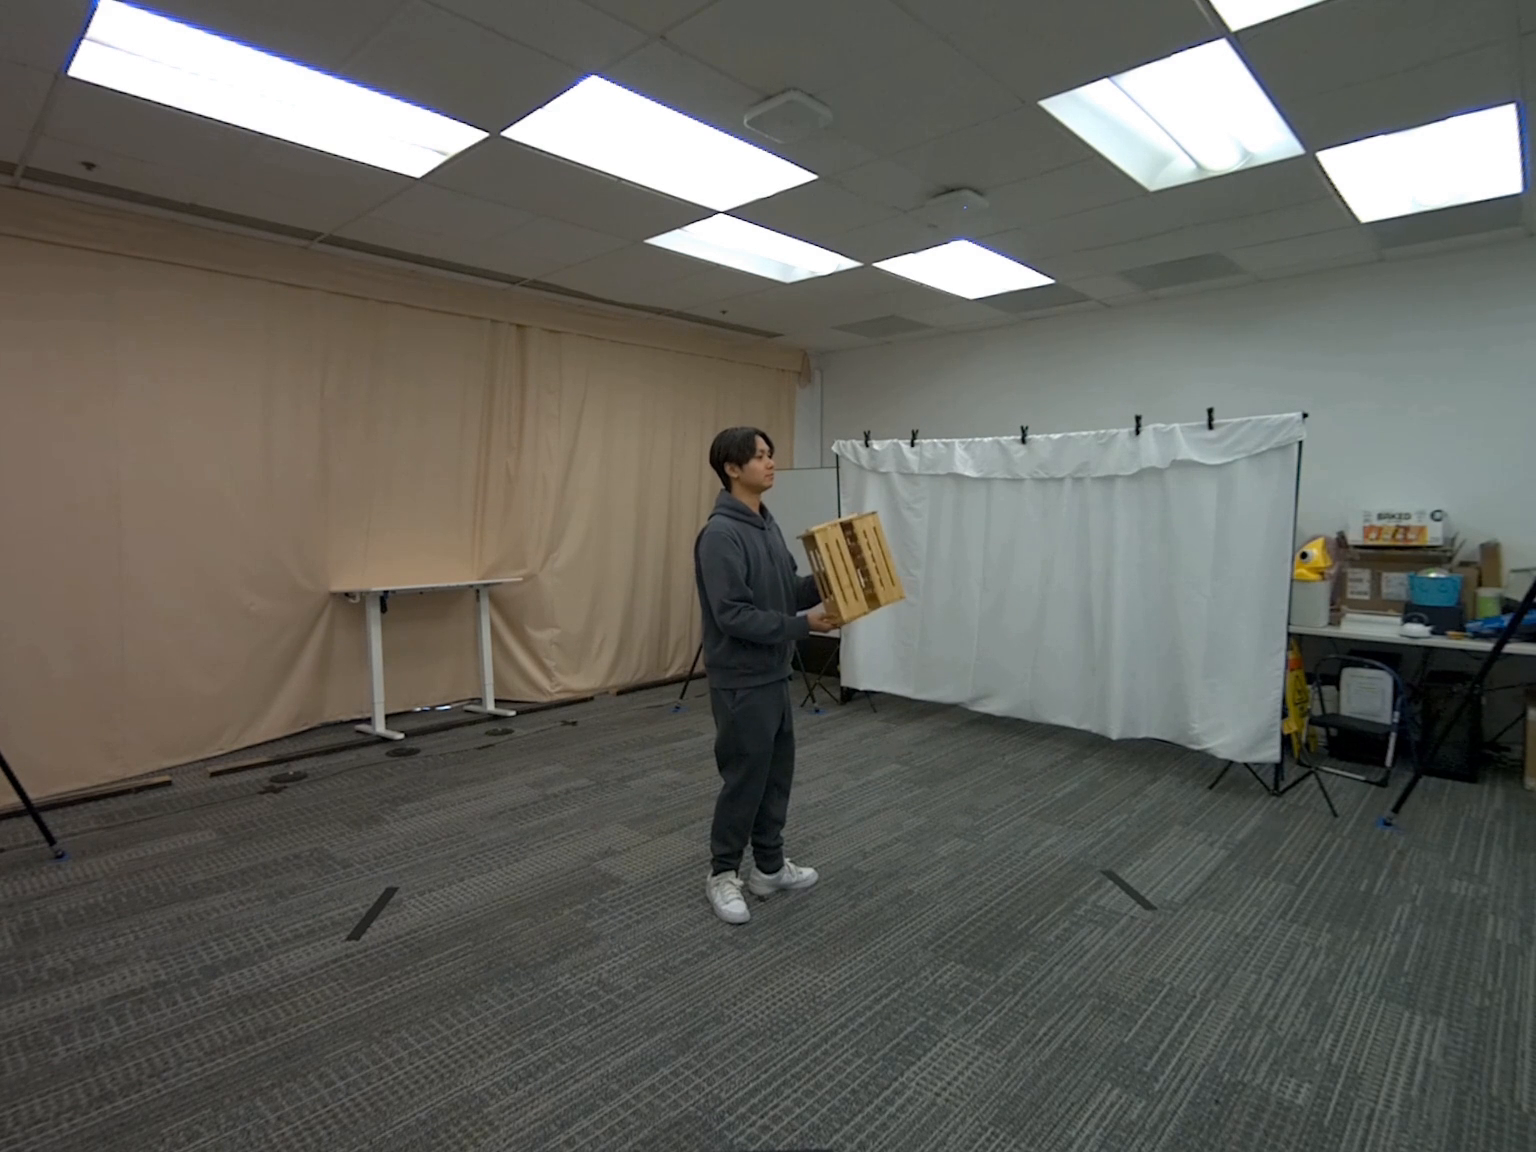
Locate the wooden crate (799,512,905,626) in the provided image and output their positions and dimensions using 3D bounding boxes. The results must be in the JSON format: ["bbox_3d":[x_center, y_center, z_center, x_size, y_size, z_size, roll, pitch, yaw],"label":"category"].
[{"bbox_3d":[0.251,-0.024,2.784,0.269,0.325,0.306,-17,-1,-21],"label":"wooden crate"}]
